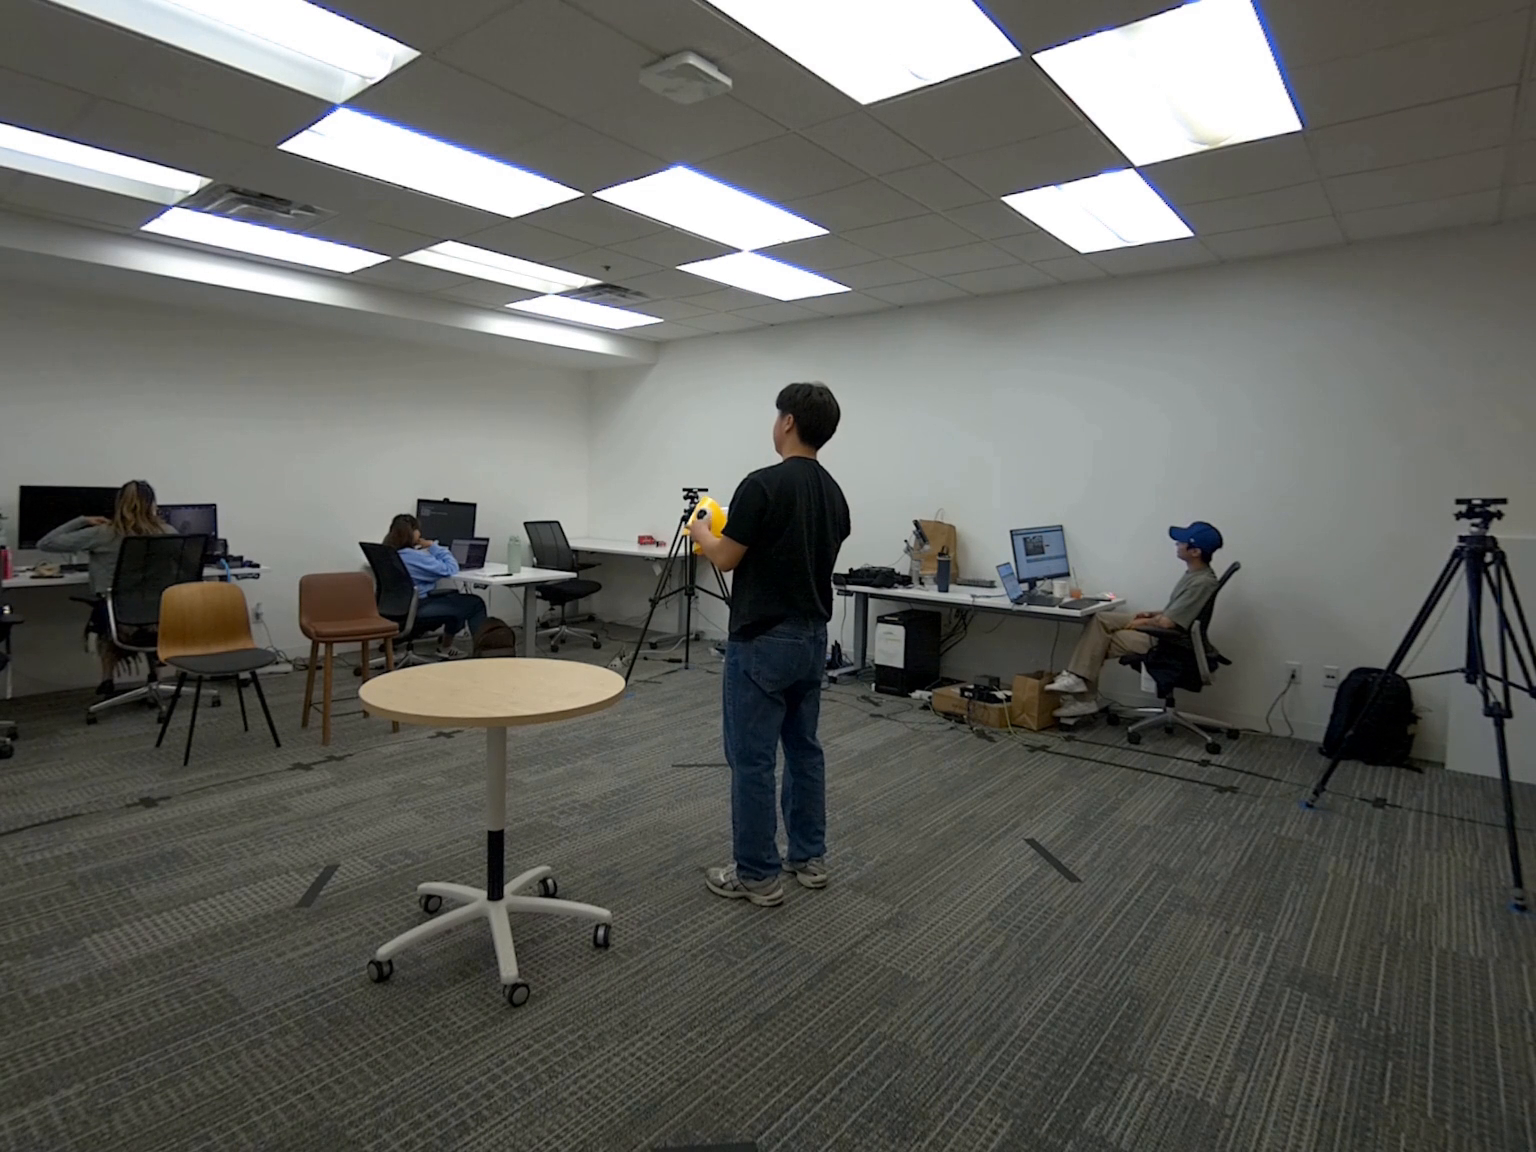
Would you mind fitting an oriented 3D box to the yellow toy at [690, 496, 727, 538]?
[{"bbox_3d":[-0.200,-0.213,3.229,0.199,0.234,0.196,0,-12,-31],"label":"yellow toy"}]
